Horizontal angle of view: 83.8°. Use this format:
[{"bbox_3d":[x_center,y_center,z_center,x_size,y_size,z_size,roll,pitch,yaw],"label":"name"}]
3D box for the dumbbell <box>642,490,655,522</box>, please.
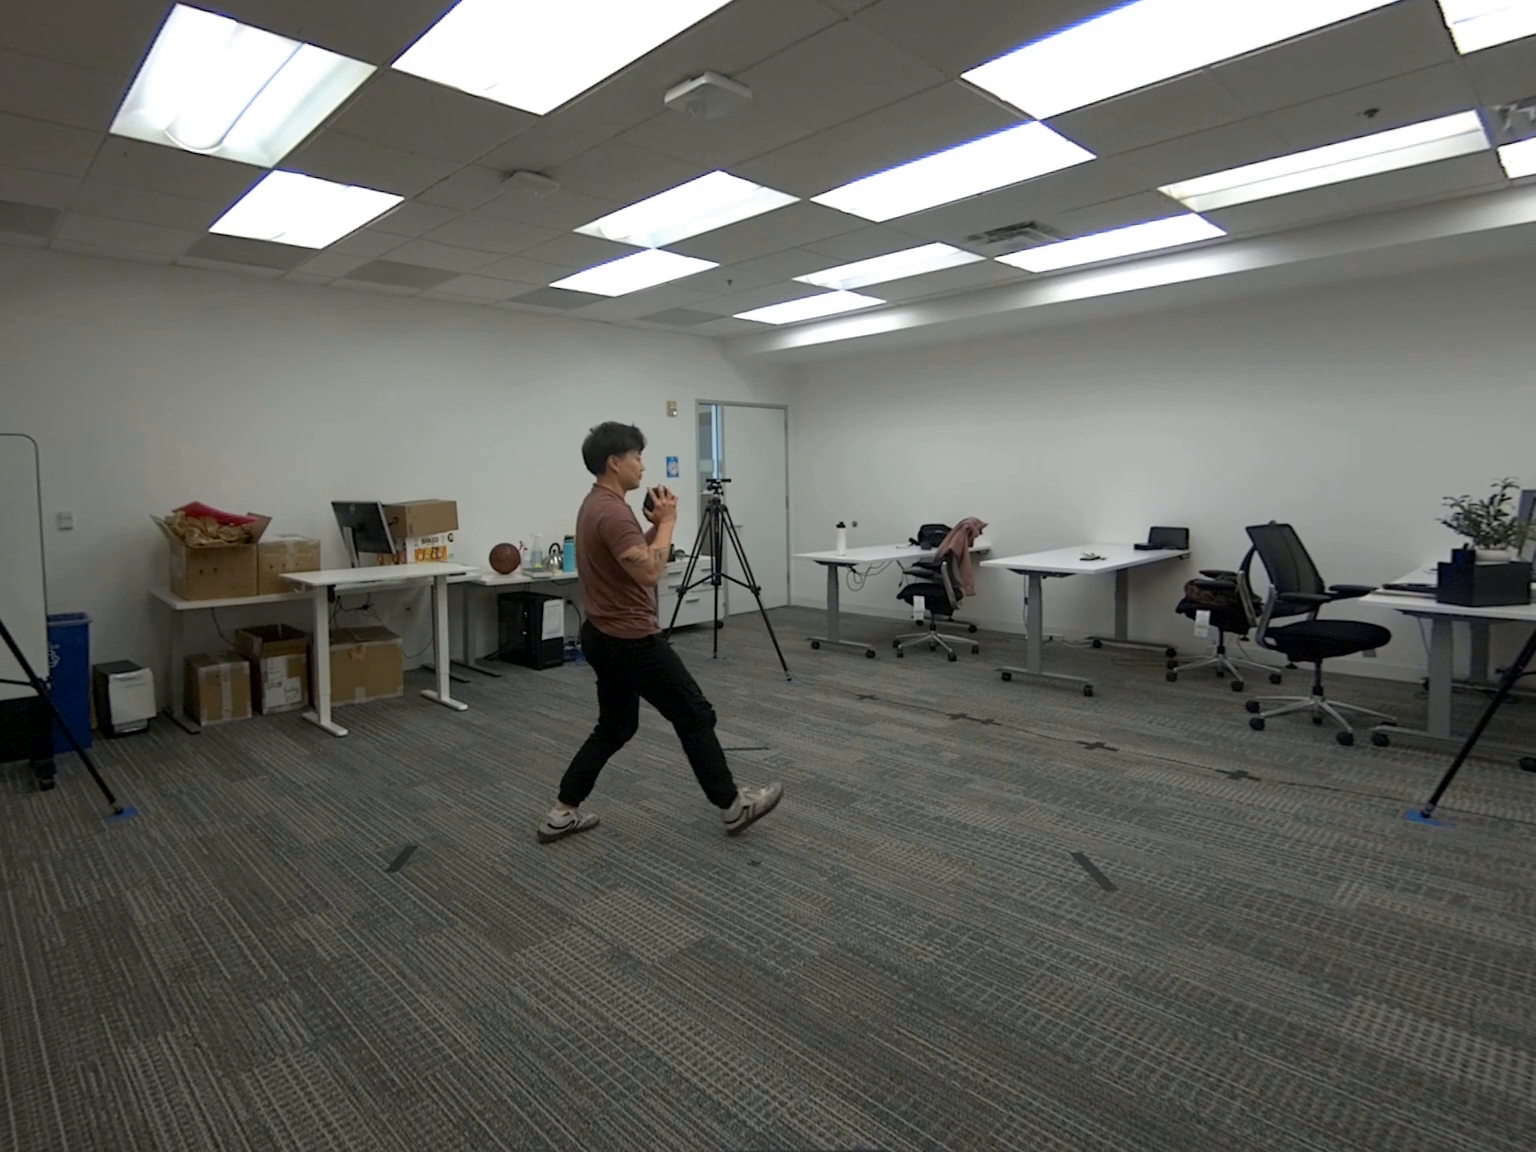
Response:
[{"bbox_3d":[-0.432,-0.274,3.352,0.122,0.108,0.295,-17,3,-6],"label":"dumbbell"}]
